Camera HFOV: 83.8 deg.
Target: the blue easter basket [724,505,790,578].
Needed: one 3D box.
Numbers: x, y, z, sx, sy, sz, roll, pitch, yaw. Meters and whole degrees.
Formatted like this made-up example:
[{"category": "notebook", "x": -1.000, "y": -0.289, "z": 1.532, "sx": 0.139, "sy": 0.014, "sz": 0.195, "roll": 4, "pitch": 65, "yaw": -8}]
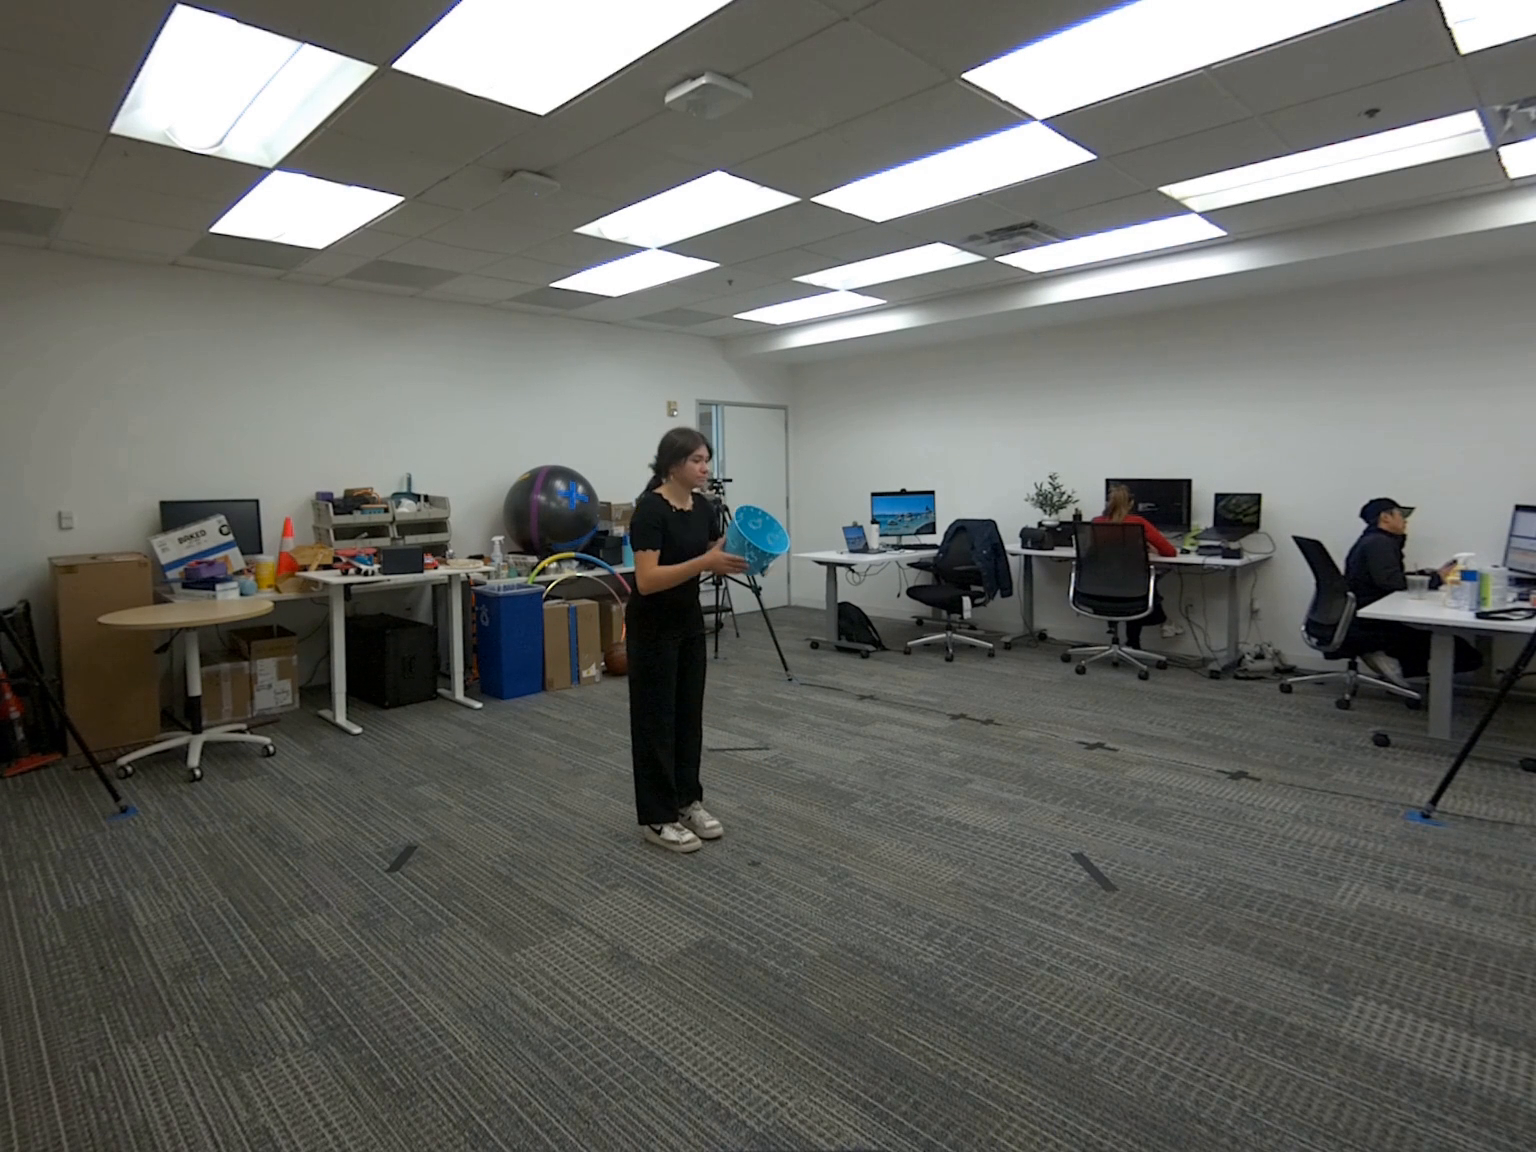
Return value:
[{"category": "blue easter basket", "x": -0.063, "y": -0.112, "z": 3.063, "sx": 0.237, "sy": 0.251, "sz": 0.155, "roll": -6, "pitch": -38, "yaw": -43}]
